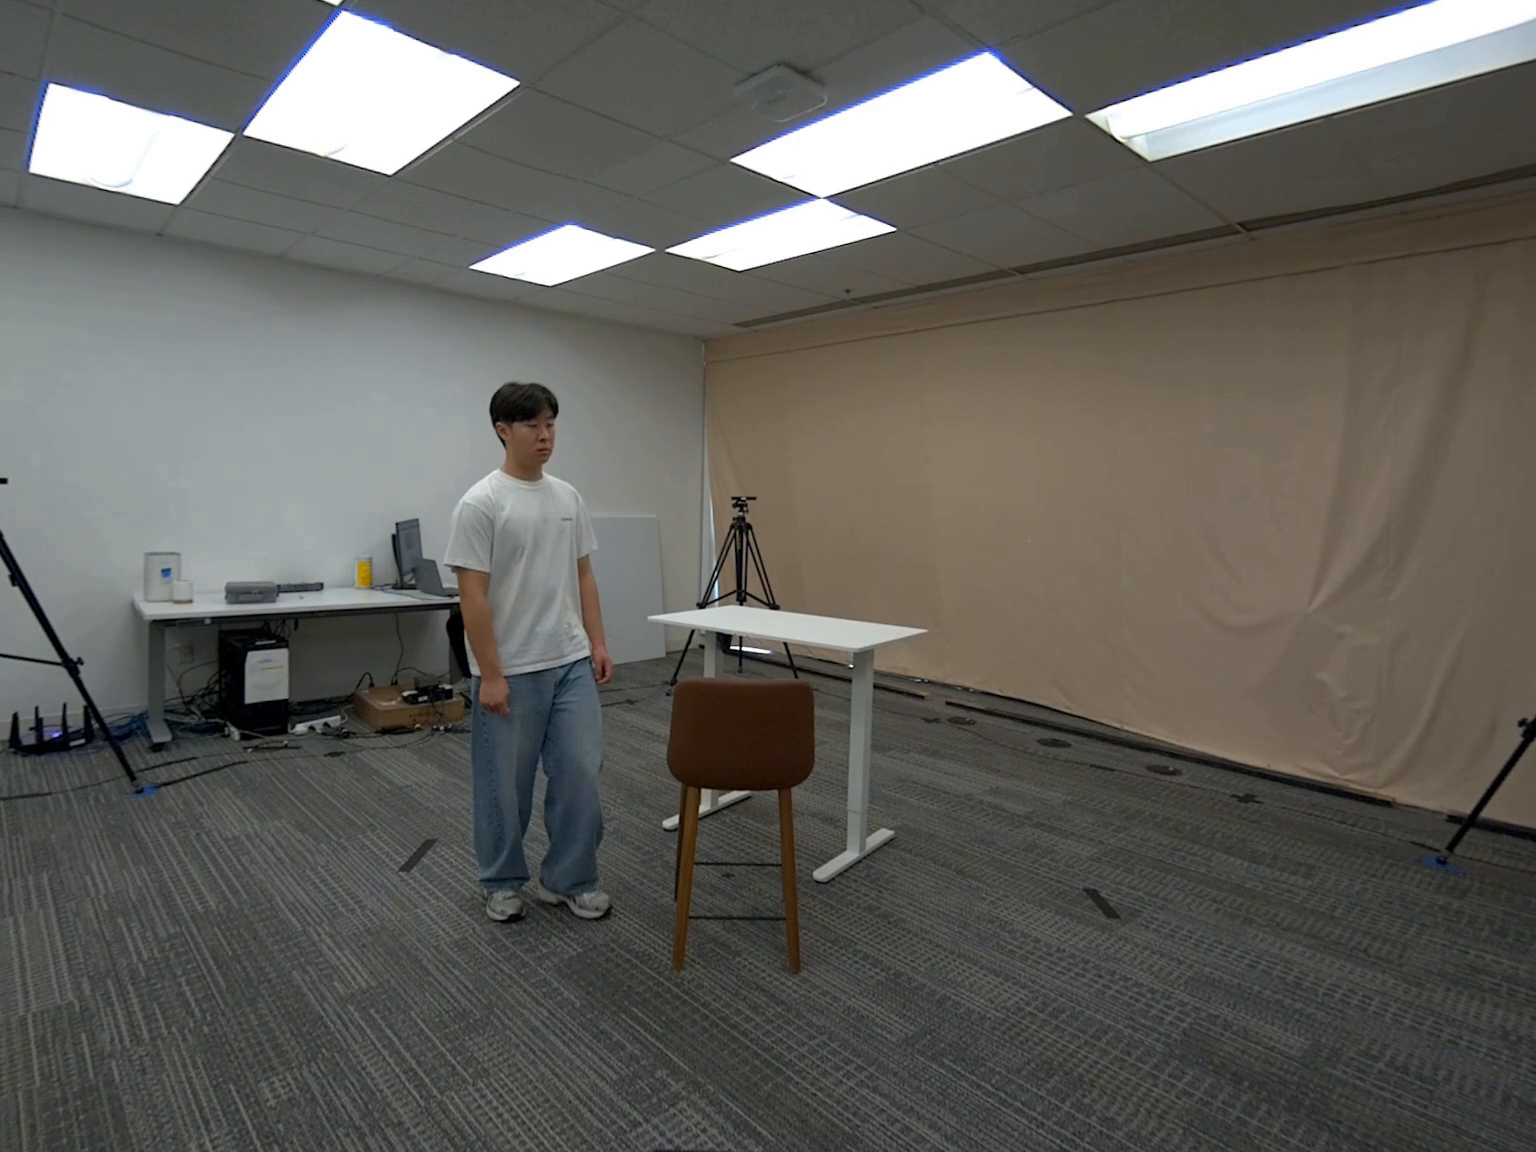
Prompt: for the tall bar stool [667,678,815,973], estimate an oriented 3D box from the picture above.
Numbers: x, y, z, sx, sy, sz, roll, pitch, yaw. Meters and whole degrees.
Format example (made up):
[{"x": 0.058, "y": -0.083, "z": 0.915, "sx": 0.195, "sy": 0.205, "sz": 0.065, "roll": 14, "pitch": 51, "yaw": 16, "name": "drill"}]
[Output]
[{"x": -0.106, "y": 0.714, "z": 2.666, "sx": 0.455, "sy": 0.886, "sz": 0.471, "roll": 1, "pitch": 6, "yaw": -4, "name": "tall bar stool"}]
